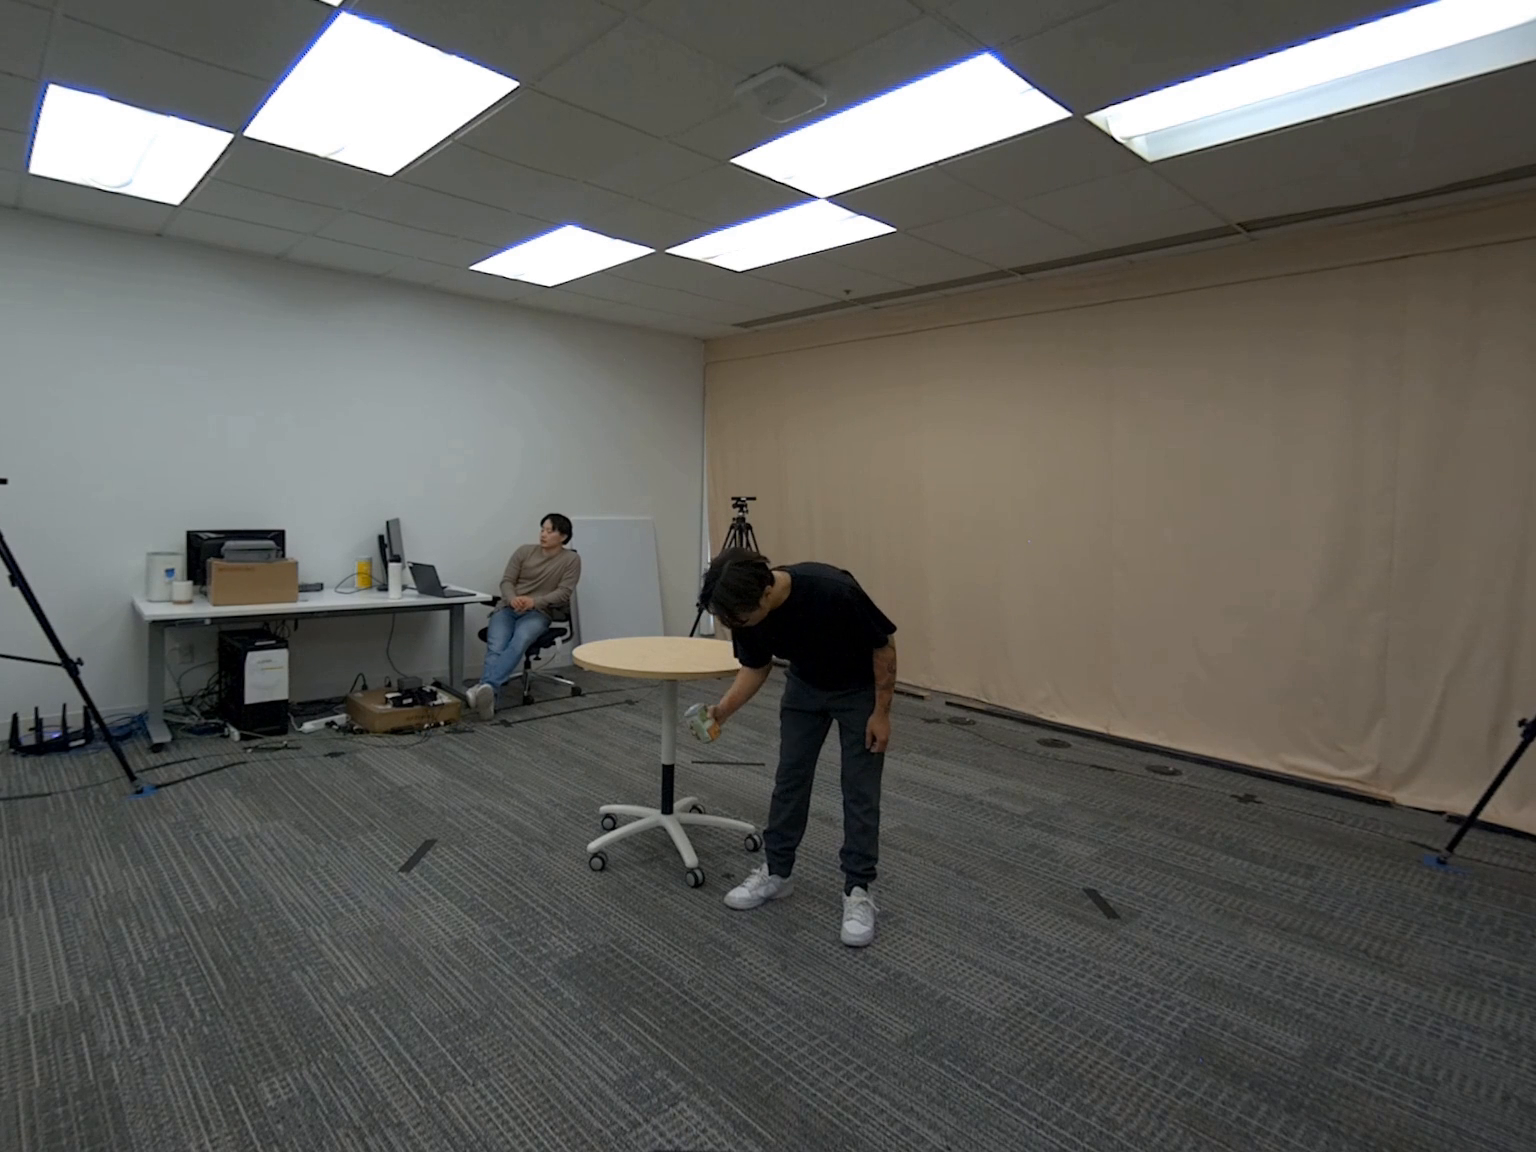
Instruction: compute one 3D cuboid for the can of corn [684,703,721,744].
[{"bbox_3d":[-0.215,0.458,2.688,0.074,0.110,0.075,-22,9,2],"label":"can of corn"}]
